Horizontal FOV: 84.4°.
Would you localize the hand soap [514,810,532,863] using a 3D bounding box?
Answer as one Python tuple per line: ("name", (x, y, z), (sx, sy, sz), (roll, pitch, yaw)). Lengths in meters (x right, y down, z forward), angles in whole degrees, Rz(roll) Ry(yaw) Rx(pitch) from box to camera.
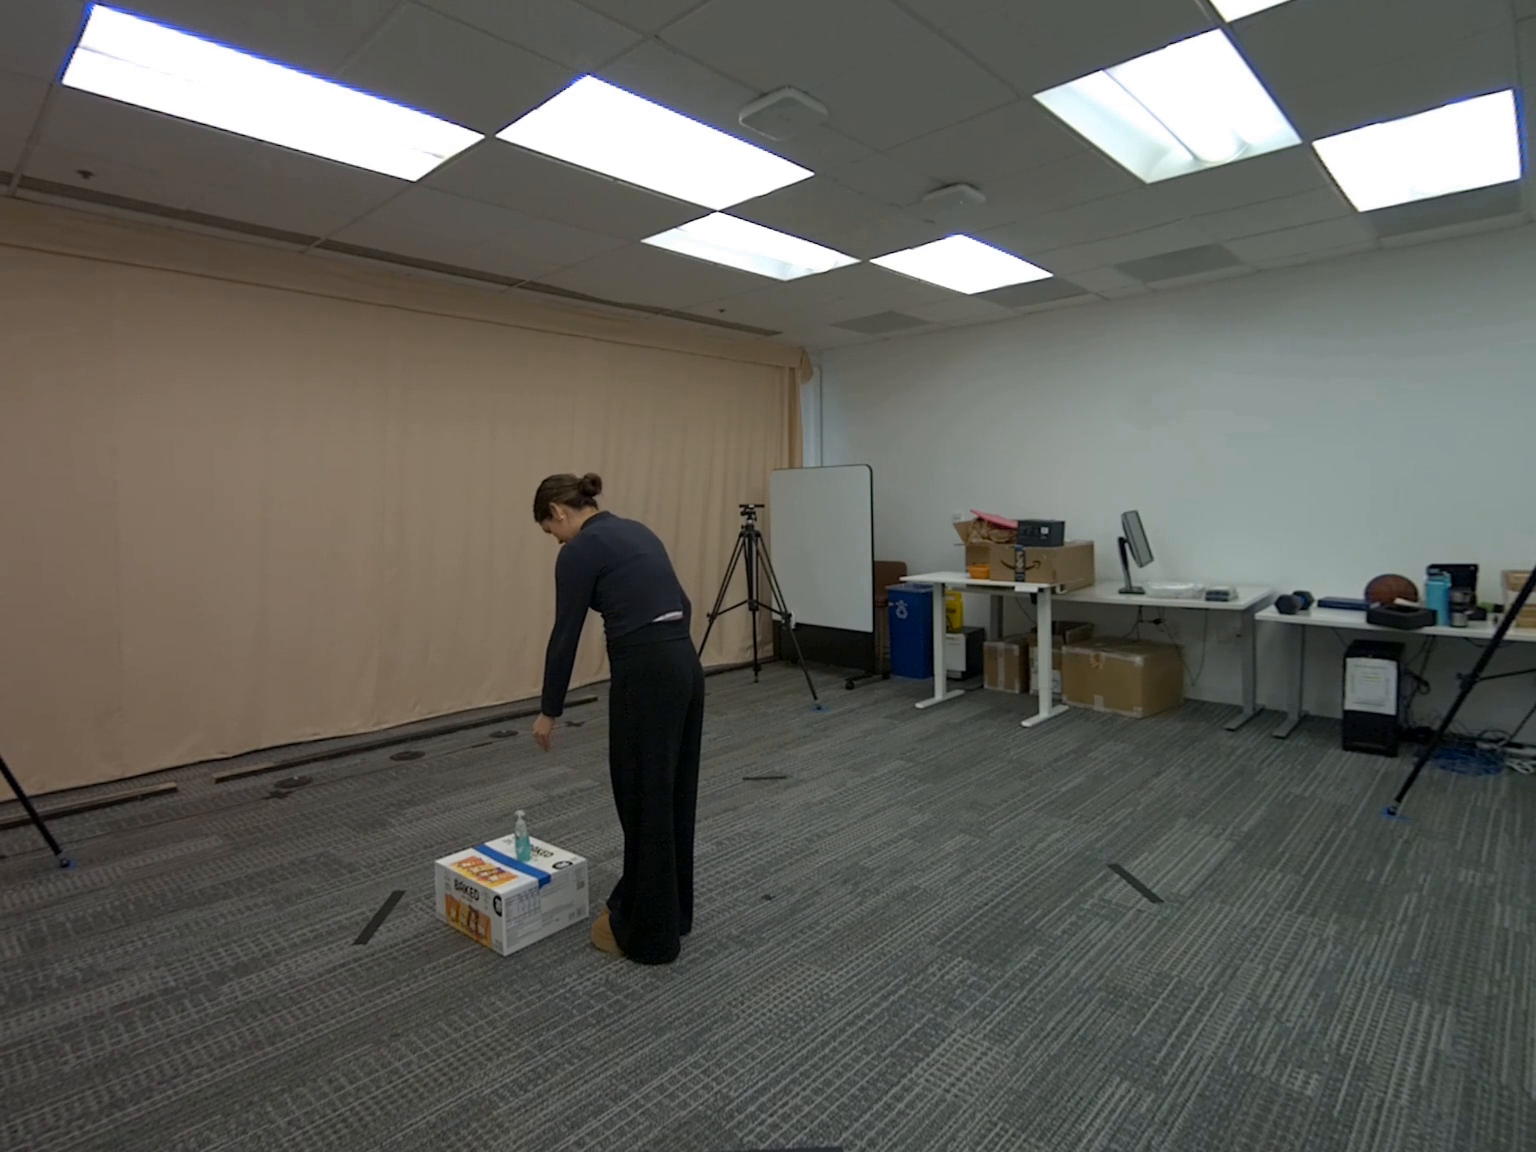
("hand soap", (-0.843, 0.888, 2.890), (0.042, 0.168, 0.087), (-9, 4, -45))
